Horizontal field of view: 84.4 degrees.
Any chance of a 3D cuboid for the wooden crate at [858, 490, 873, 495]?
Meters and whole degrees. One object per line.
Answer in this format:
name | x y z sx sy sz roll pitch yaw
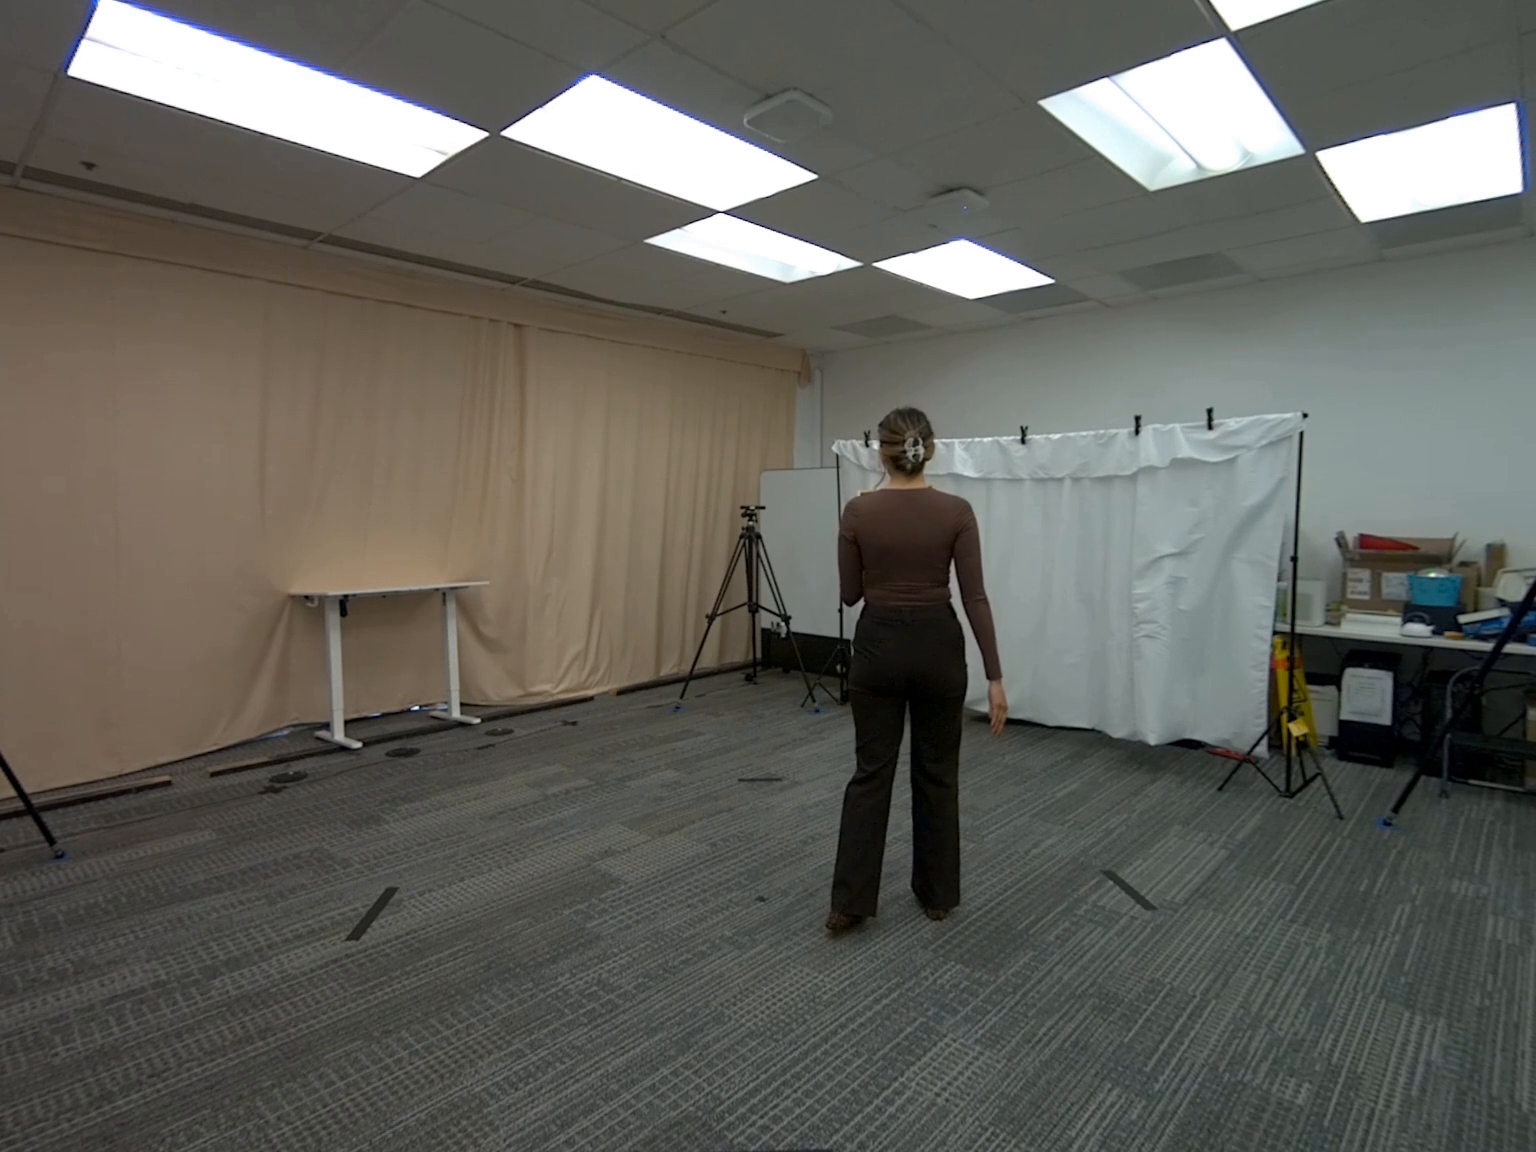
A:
wooden crate | 0.506 -0.205 3.236 0.330 0.303 0.268 -5 -4 17
